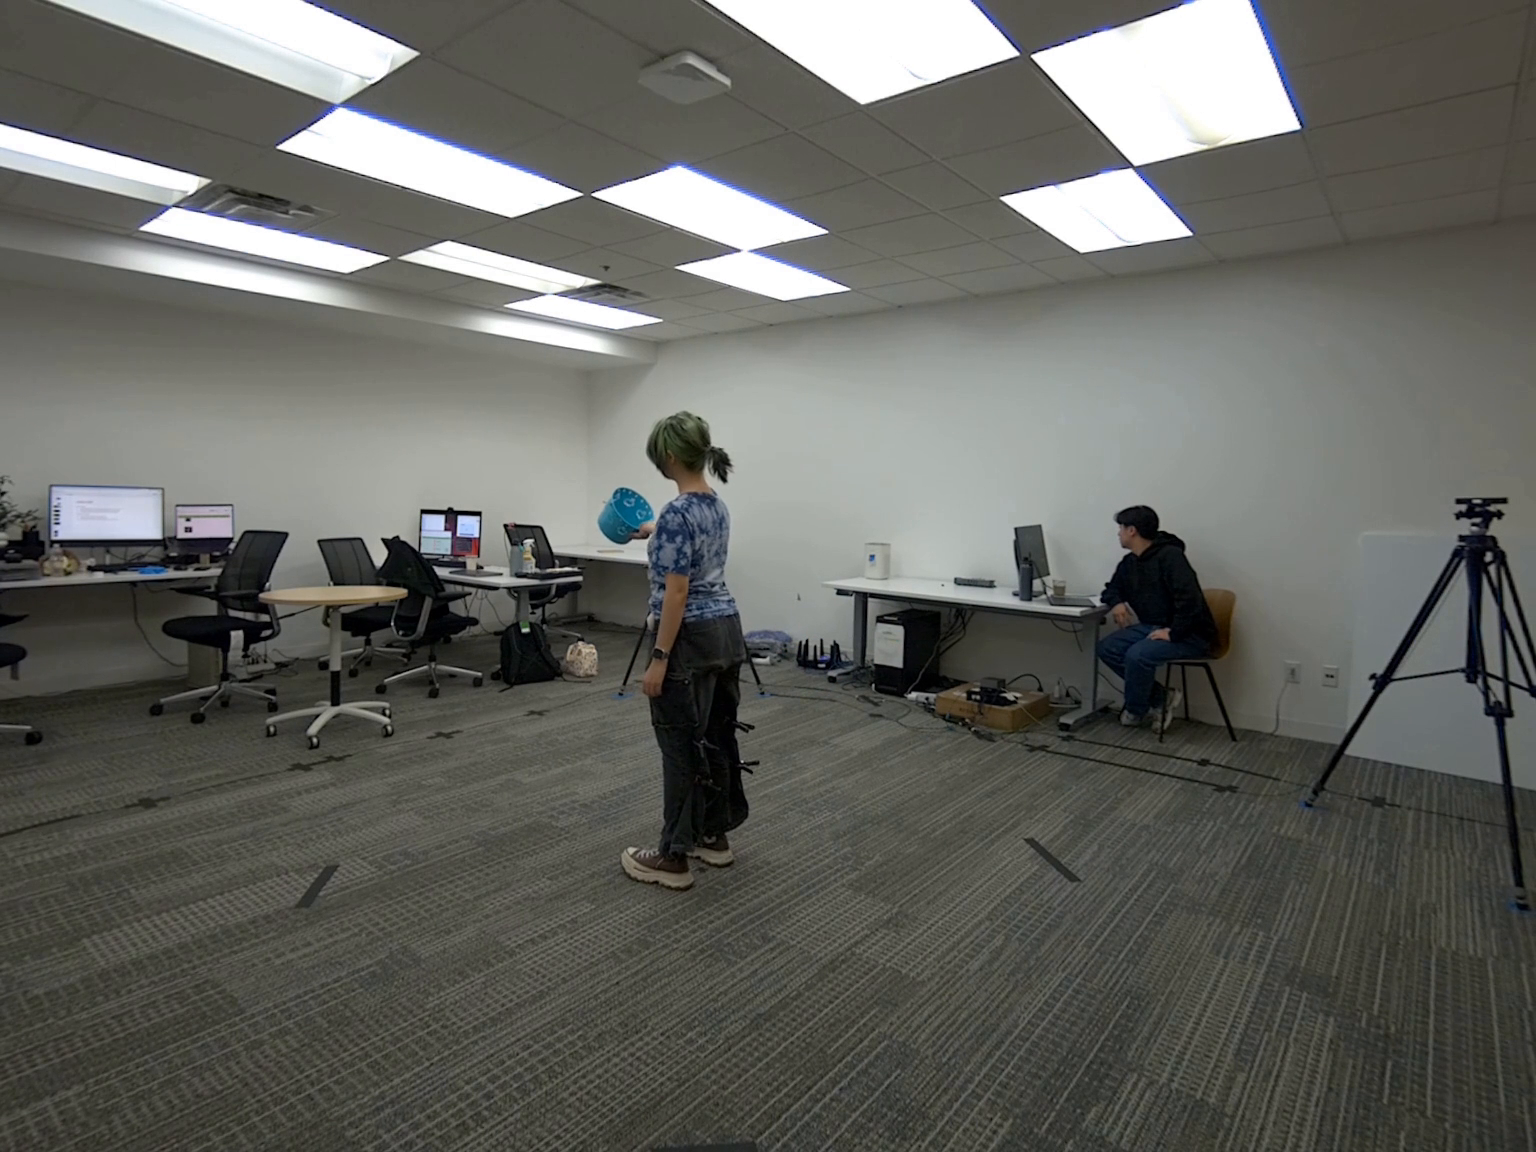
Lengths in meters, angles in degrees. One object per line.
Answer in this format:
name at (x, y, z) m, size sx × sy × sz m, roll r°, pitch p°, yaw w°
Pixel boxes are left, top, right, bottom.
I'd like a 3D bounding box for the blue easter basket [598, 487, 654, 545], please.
blue easter basket at (-0.645, -0.257, 3.782) m, size 0.236 × 0.250 × 0.156 m, roll -4°, pitch -31°, yaw -51°
